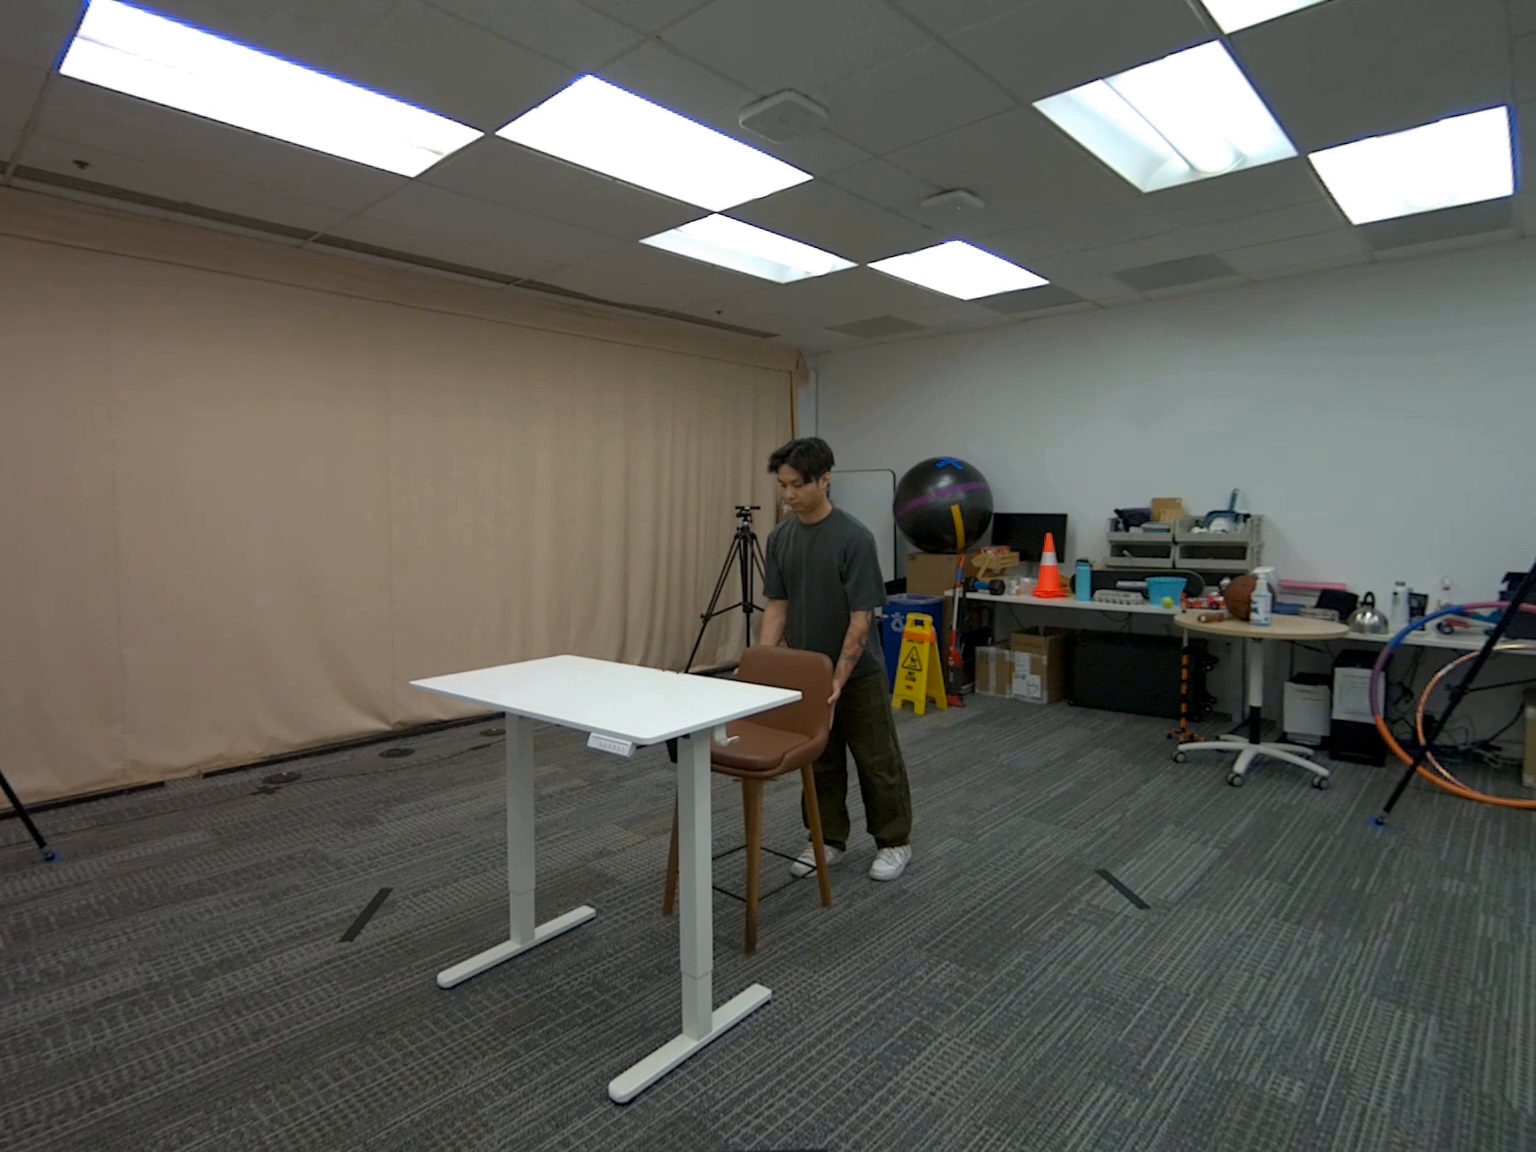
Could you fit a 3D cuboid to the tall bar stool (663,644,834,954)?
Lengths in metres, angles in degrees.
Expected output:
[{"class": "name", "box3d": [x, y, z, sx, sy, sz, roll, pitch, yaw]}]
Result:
[{"class": "tall bar stool", "box3d": [-0.057, 0.714, 2.882, 0.472, 0.889, 0.453, 3, 3, 41]}]
